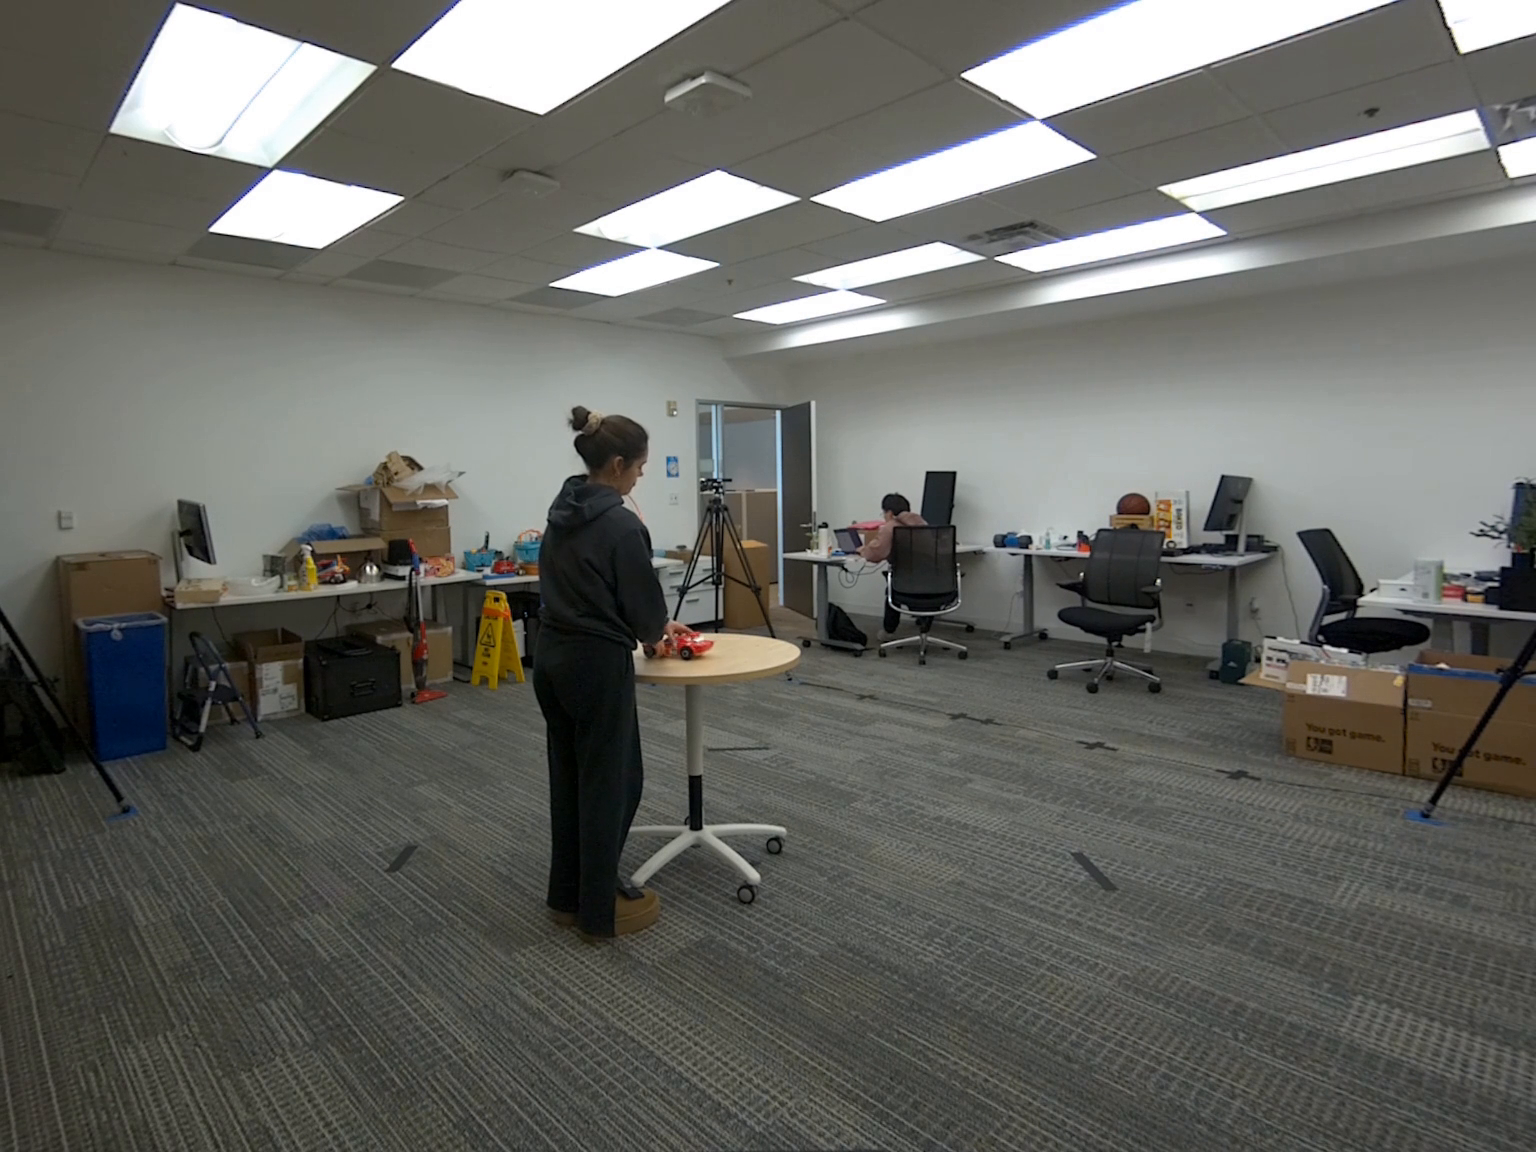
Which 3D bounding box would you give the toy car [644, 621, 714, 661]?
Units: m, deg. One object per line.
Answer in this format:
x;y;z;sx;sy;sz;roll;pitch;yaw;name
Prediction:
-0.299;0.249;2.963;0.259;0.083;0.128;-12;1;23;toy car
